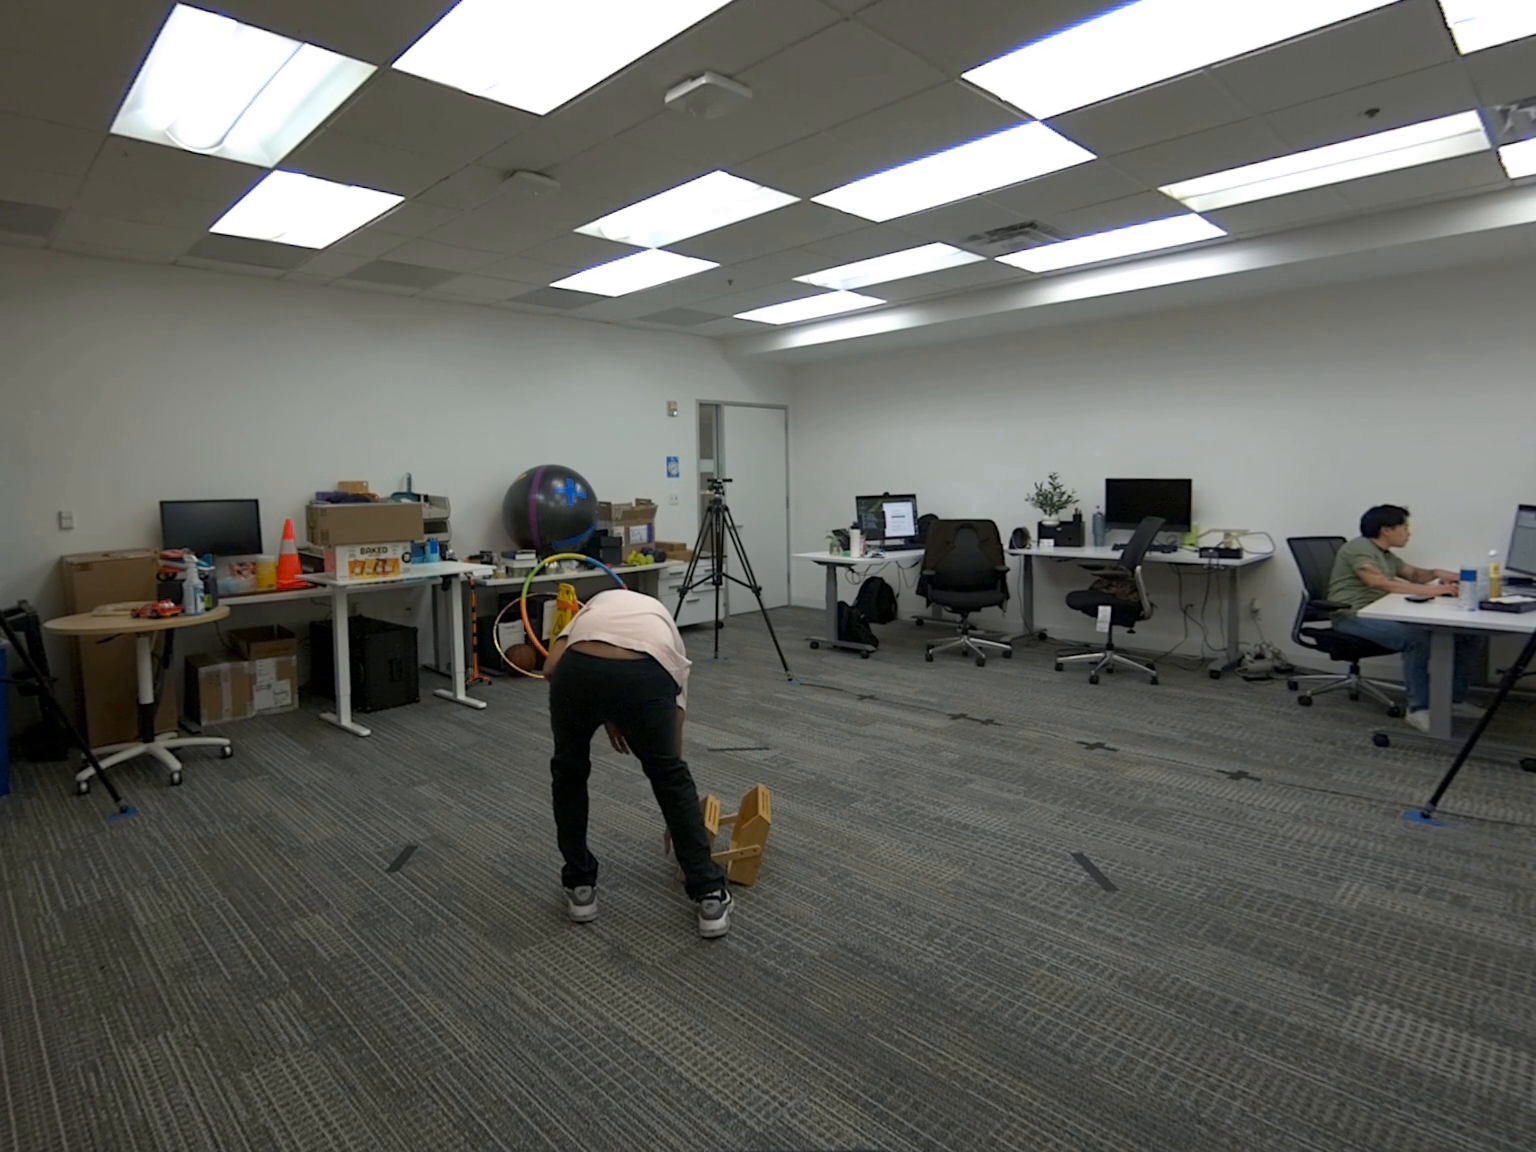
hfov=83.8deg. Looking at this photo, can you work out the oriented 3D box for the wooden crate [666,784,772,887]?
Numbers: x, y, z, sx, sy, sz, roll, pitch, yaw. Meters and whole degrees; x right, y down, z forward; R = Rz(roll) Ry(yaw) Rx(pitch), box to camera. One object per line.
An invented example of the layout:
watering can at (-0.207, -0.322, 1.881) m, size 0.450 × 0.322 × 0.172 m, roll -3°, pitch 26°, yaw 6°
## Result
wooden crate at (-0.151, 0.916, 3.075) m, size 0.273 × 0.301 × 0.326 m, roll 16°, pitch 5°, yaw -2°
